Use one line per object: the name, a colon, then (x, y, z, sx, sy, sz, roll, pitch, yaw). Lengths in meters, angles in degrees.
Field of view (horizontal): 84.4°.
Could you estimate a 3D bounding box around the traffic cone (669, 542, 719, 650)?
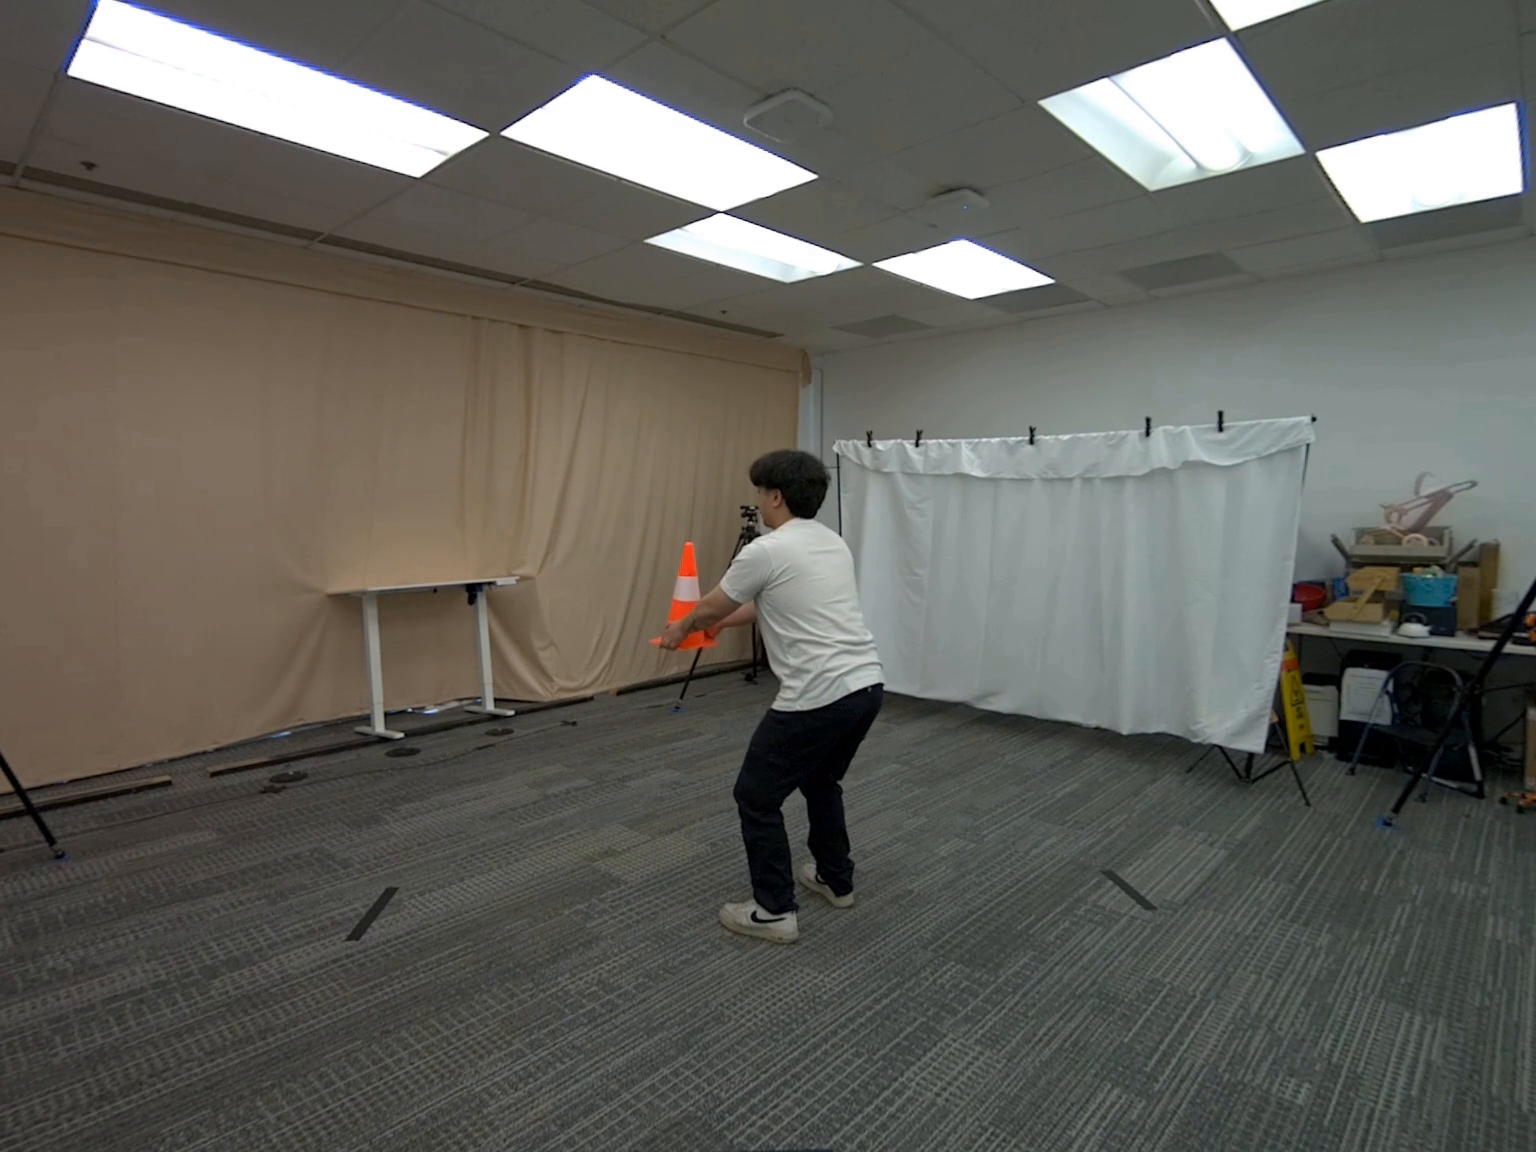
traffic cone: (-0.311, 0.065, 3.191, 0.209, 0.382, 0.200, 7, 7, 26)
